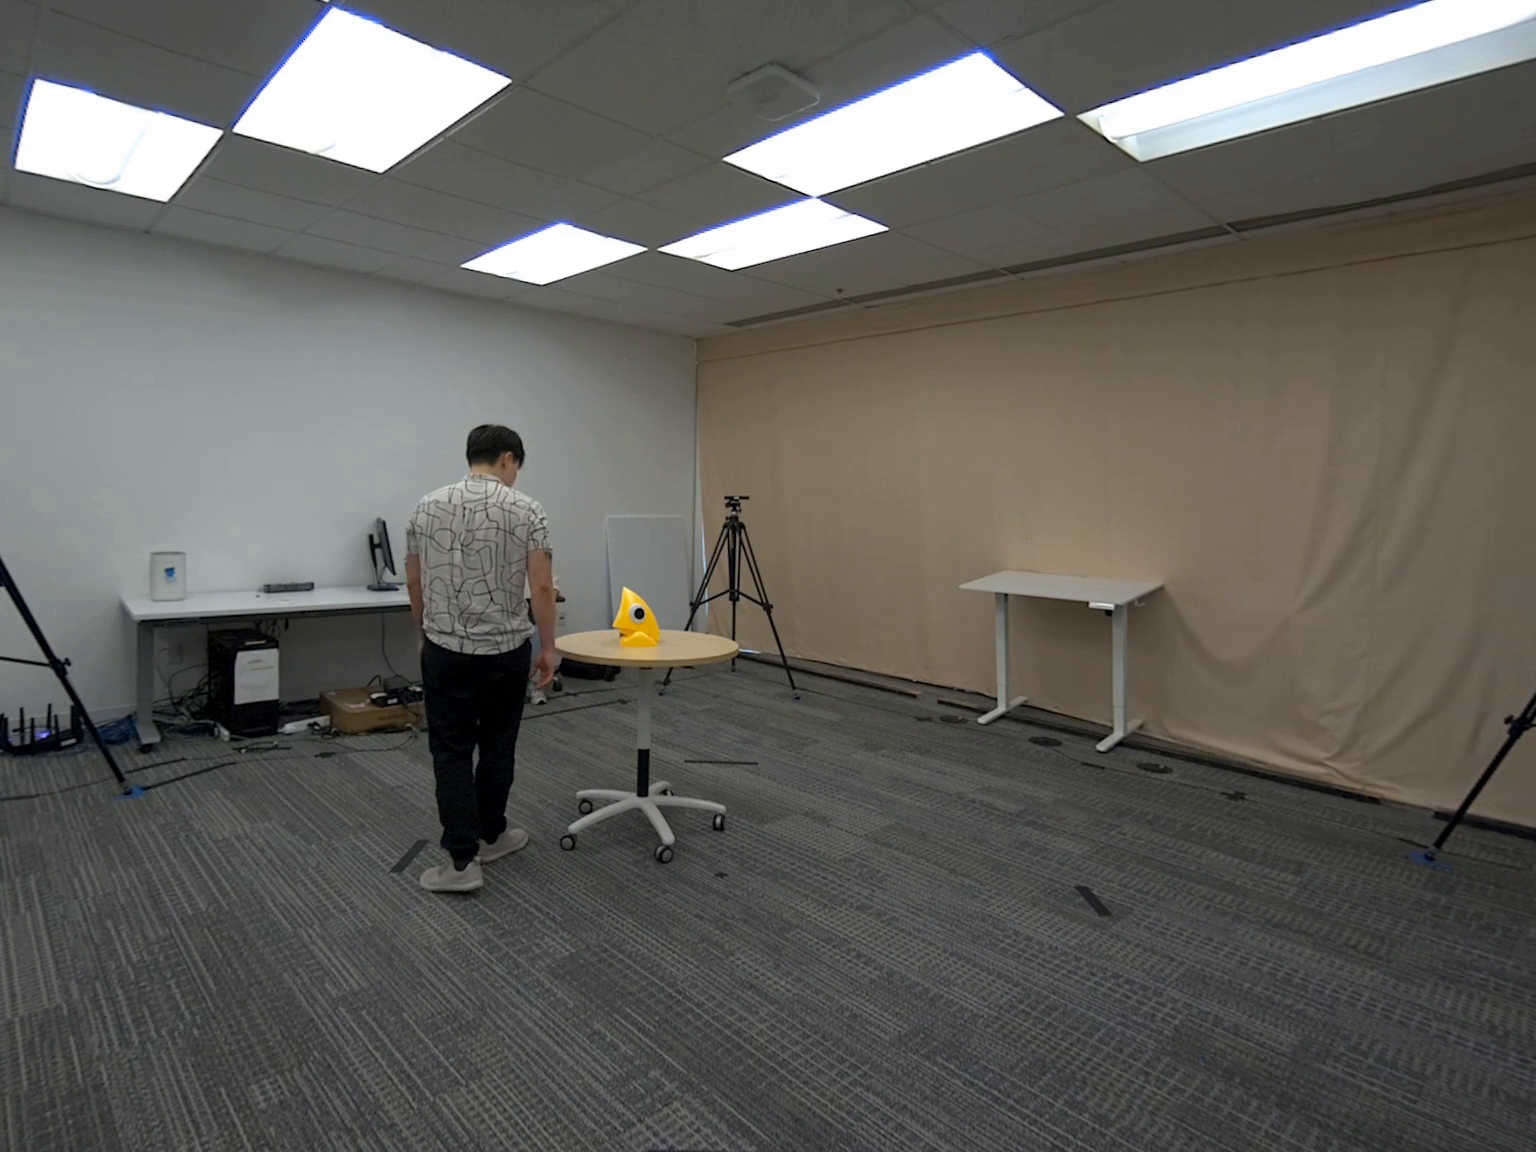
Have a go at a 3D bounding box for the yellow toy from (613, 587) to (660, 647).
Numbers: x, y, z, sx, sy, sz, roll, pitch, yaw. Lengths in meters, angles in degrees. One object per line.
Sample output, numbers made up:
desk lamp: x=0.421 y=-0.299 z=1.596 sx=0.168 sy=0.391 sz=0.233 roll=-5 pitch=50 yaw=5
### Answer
yellow toy: x=-0.551 y=0.163 z=3.489 sx=0.193 sy=0.230 sz=0.205 roll=2 pitch=3 yaw=-3
